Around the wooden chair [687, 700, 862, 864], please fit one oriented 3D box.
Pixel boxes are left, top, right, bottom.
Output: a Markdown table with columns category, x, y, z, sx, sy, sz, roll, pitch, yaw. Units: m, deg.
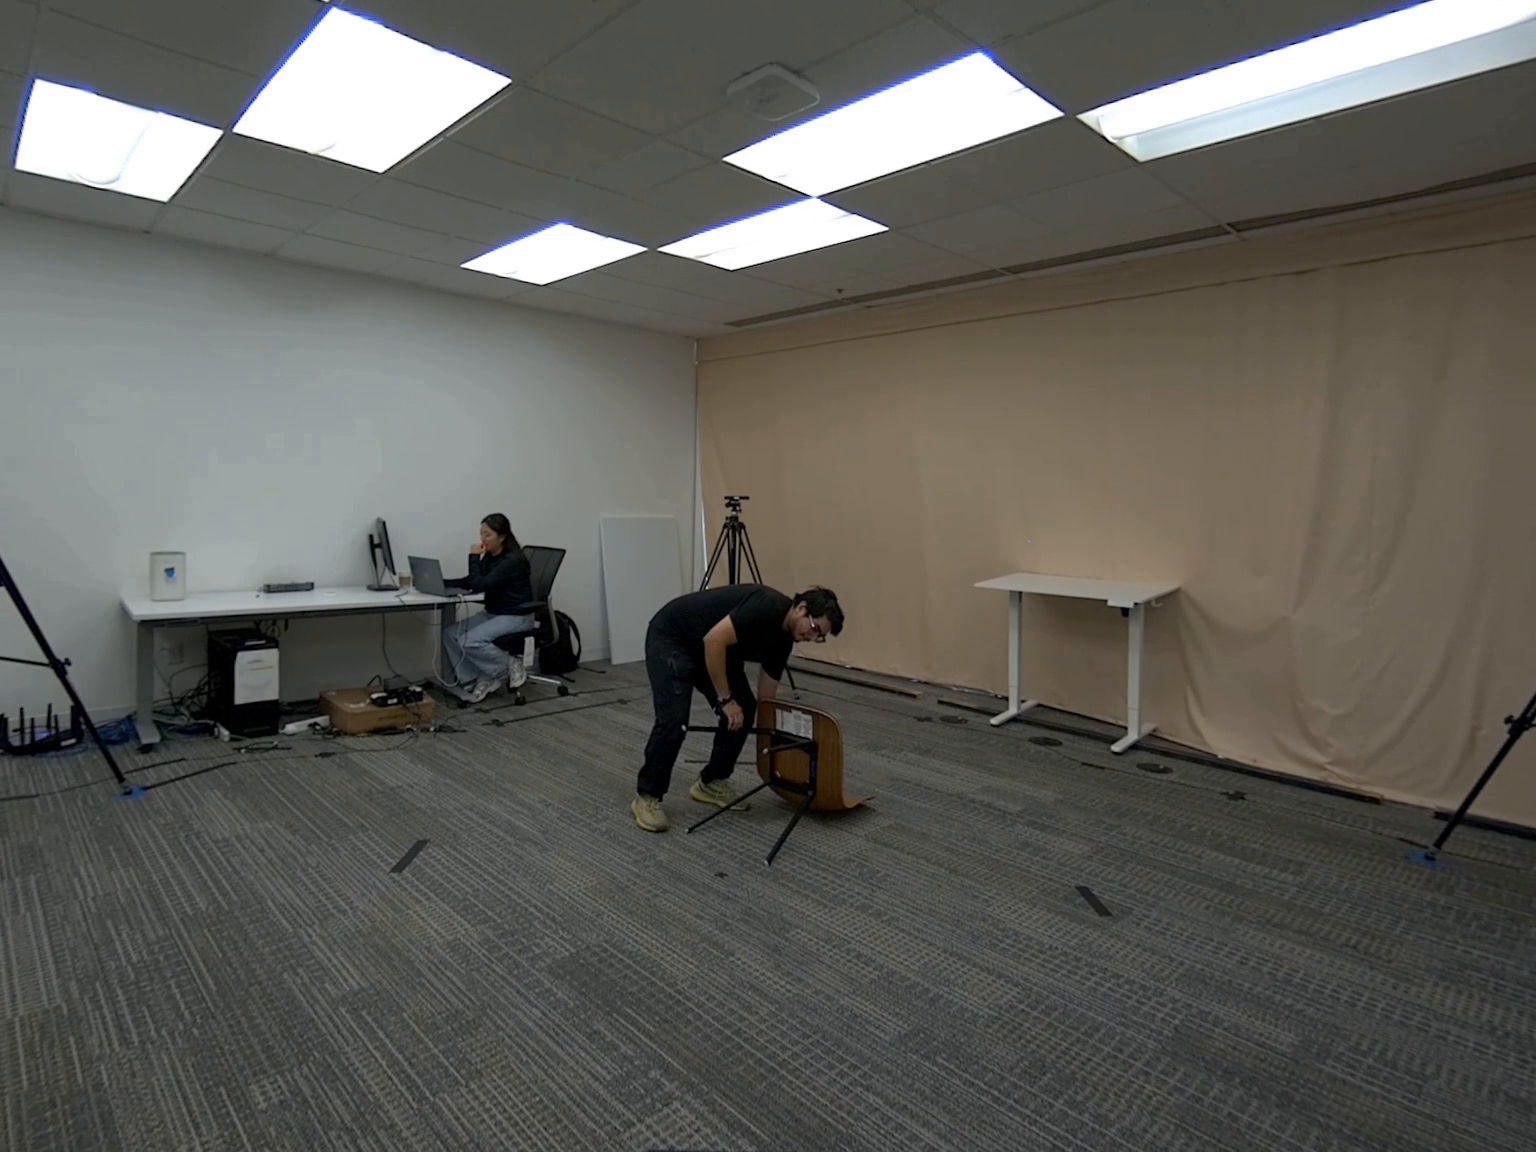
| category | x | y | z | sx | sy | sz | roll | pitch | yaw |
| --- | --- | --- | --- | --- | --- | --- | --- | --- | --- |
| wooden chair | 0.102 | 0.806 | 3.620 | 0.490 | 0.522 | 0.856 | 4 | 3 | 41 |
